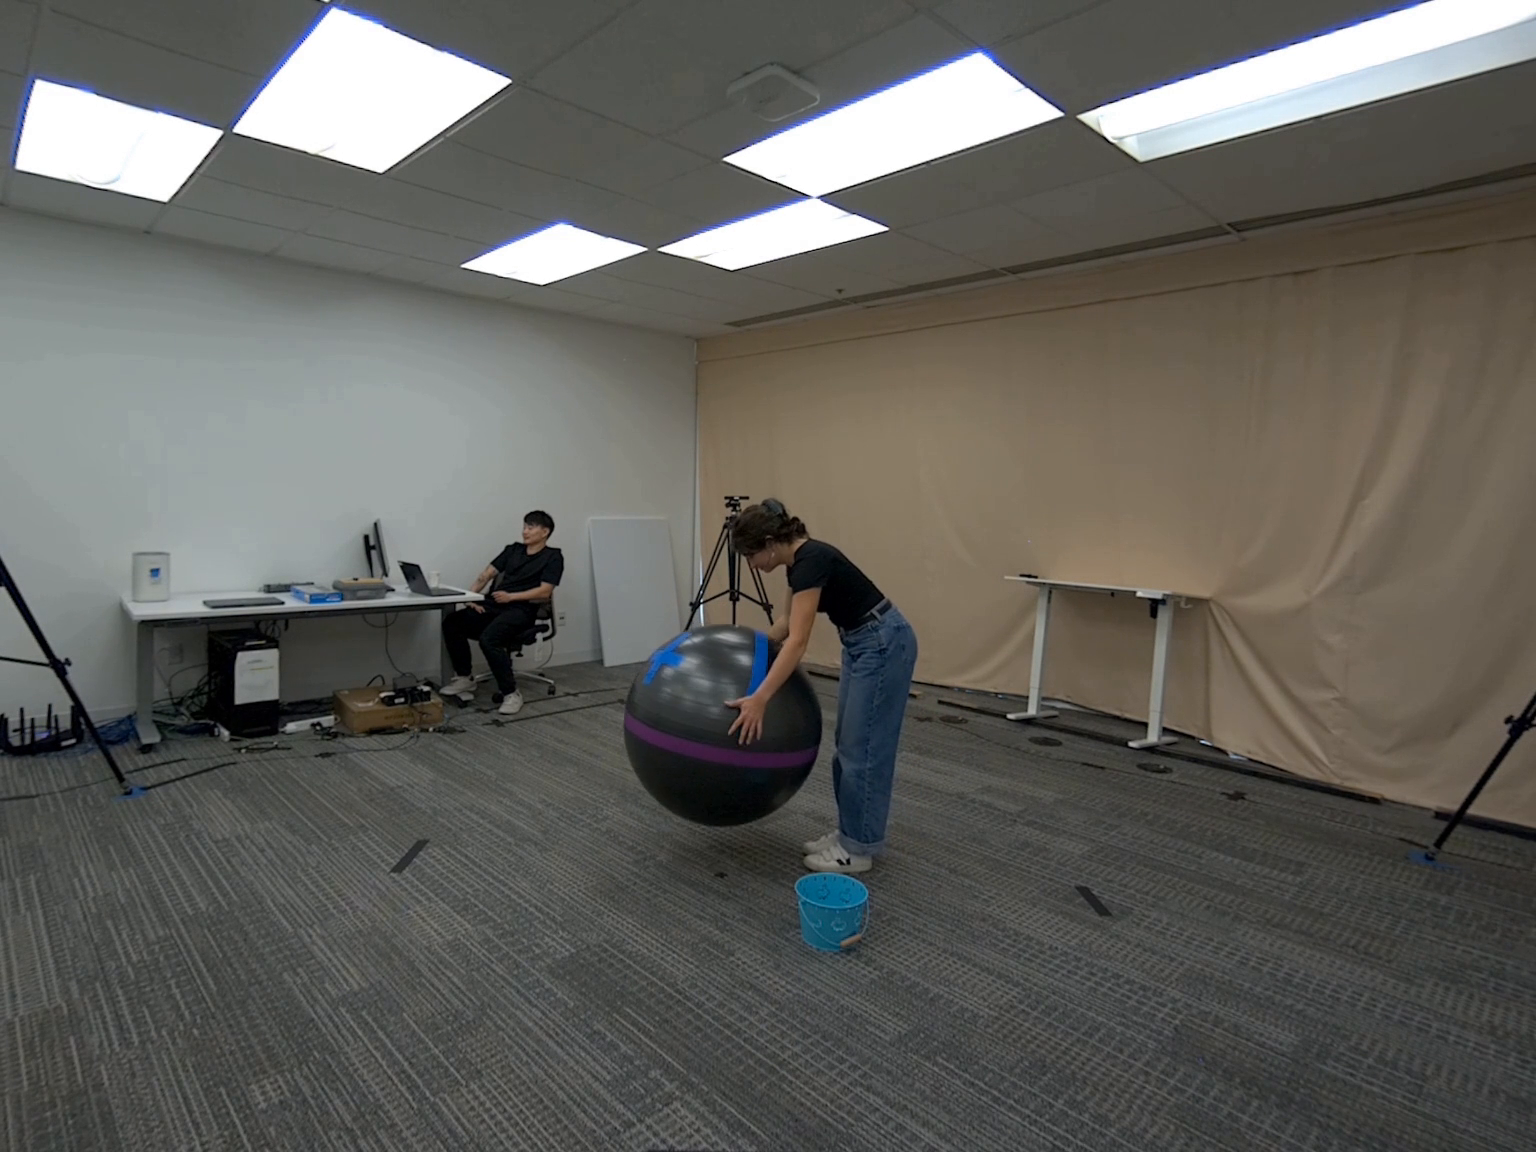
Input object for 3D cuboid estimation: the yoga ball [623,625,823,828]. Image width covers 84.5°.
[{"bbox_3d":[-0.185,0.589,3.250,0.757,0.756,0.761,1,4,-1],"label":"yoga ball"}]
